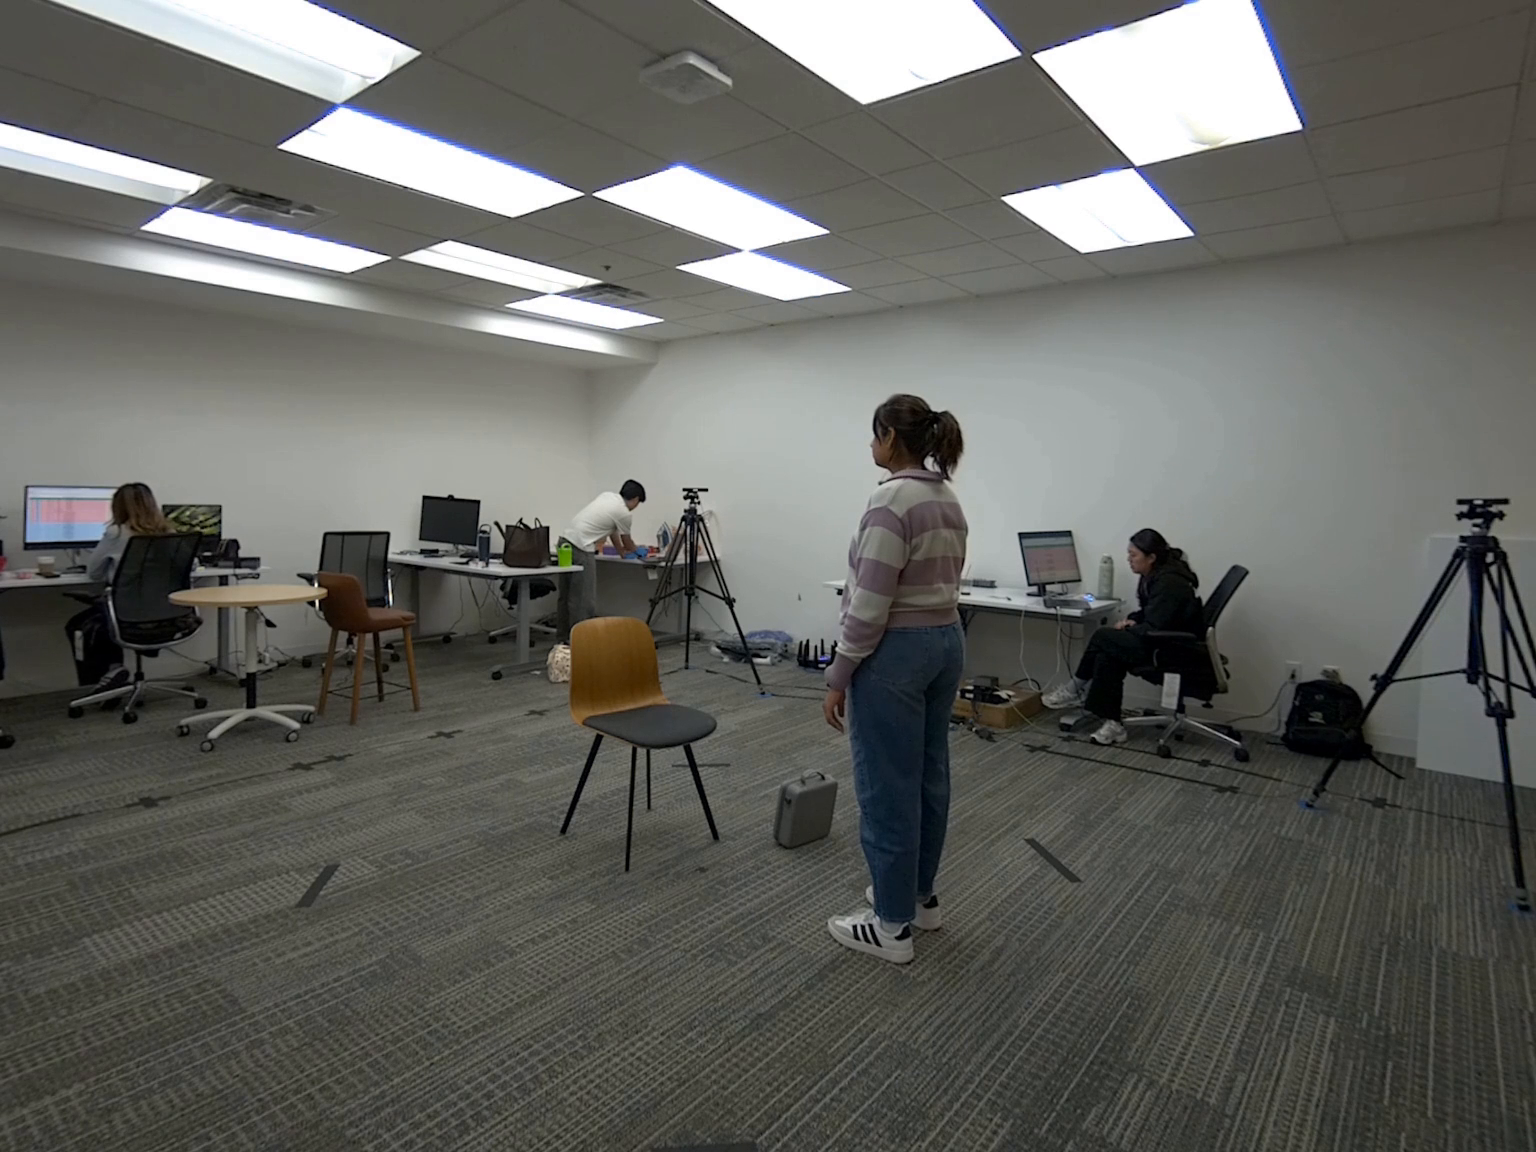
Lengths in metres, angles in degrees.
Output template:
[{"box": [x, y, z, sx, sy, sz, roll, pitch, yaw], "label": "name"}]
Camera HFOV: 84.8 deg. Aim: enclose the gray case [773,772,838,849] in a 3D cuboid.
[{"box": [0.140, 0.913, 3.380, 0.249, 0.259, 0.108, -2, 11, -36], "label": "gray case"}]
